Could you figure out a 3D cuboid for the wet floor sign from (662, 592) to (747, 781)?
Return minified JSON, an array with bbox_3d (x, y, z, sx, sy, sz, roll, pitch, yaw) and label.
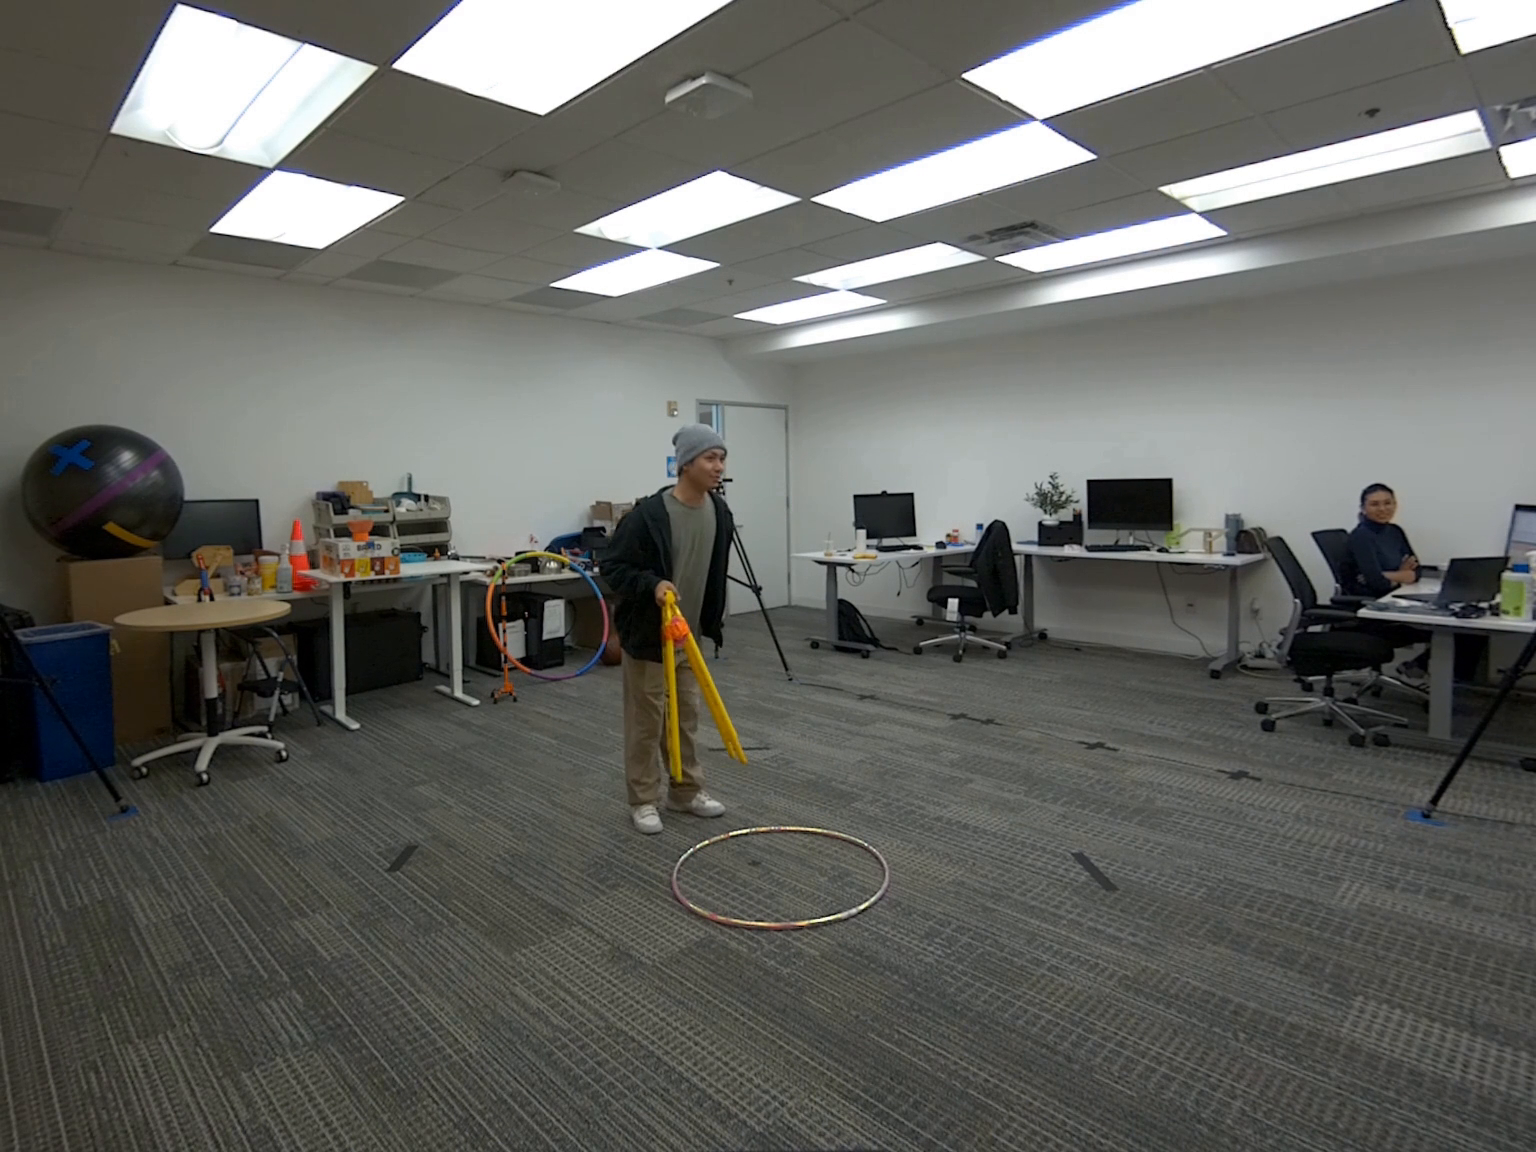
[{"bbox_3d":[-0.293,0.383,3.085,0.287,0.650,0.283,-12,-5,-13],"label":"wet floor sign"}]
